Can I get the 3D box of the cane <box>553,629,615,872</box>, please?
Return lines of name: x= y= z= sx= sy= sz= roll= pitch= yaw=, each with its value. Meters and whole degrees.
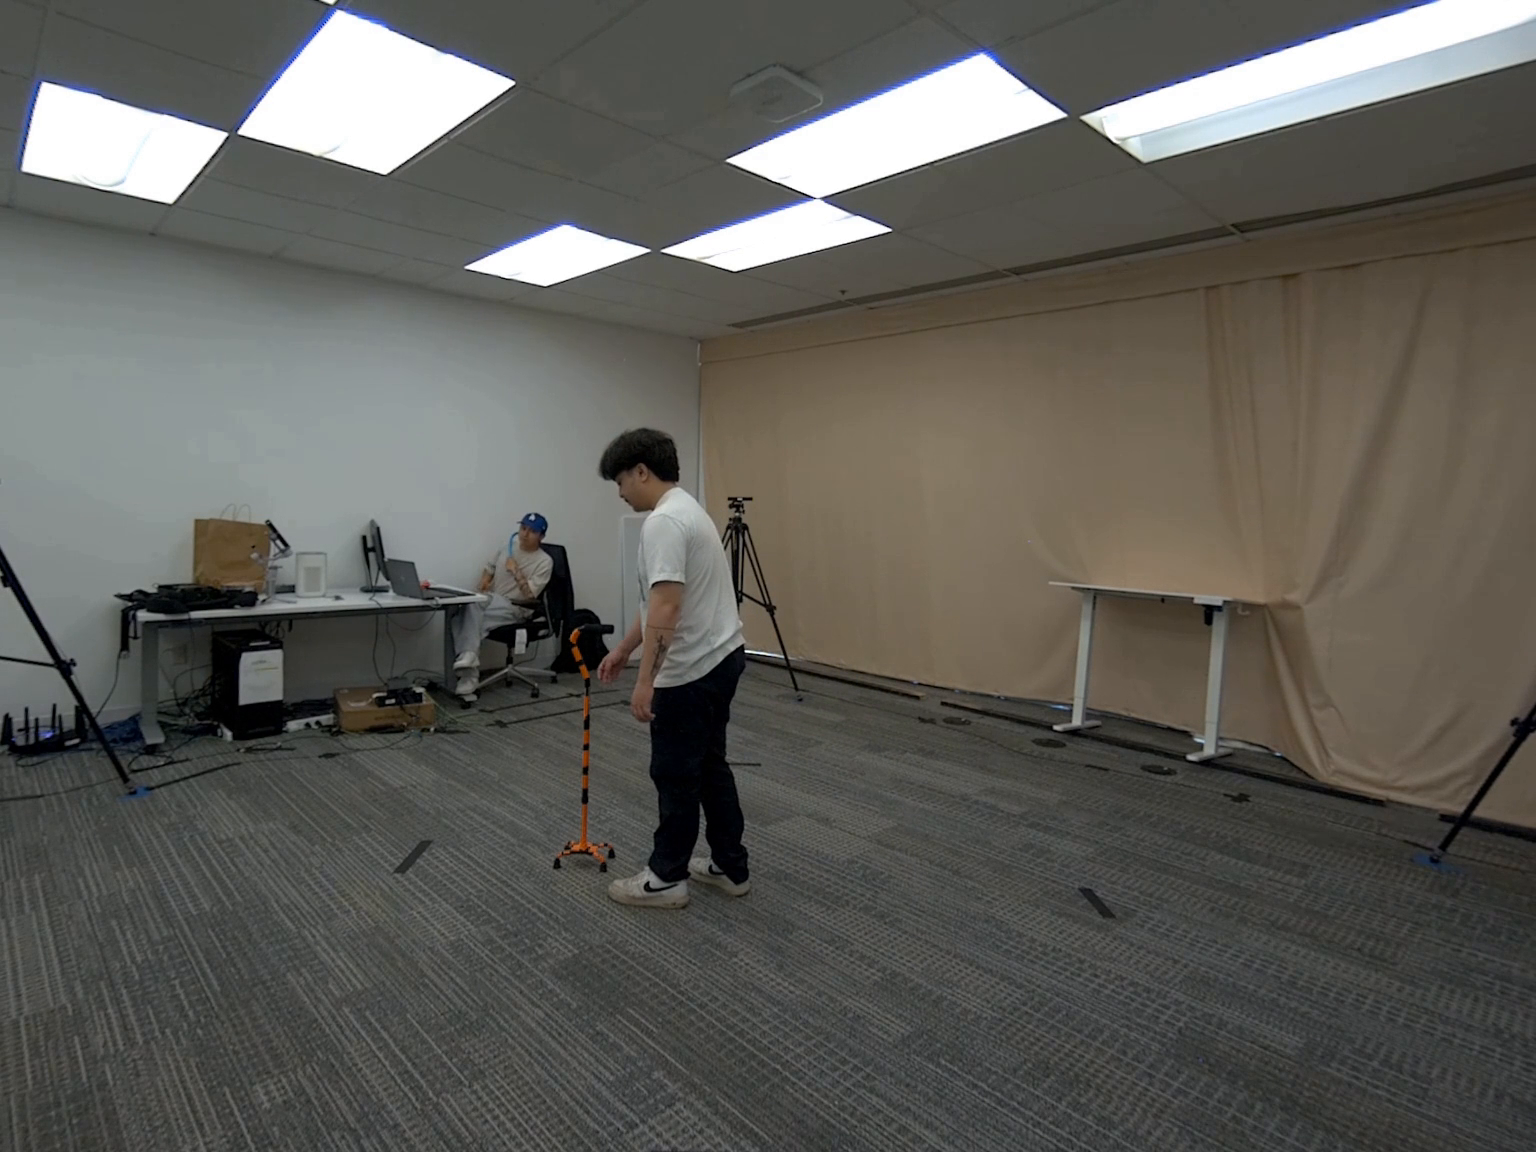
cane: x=-0.685 y=0.635 z=3.160 sx=0.207 sy=0.905 sz=0.151 roll=3 pitch=4 yaw=5
